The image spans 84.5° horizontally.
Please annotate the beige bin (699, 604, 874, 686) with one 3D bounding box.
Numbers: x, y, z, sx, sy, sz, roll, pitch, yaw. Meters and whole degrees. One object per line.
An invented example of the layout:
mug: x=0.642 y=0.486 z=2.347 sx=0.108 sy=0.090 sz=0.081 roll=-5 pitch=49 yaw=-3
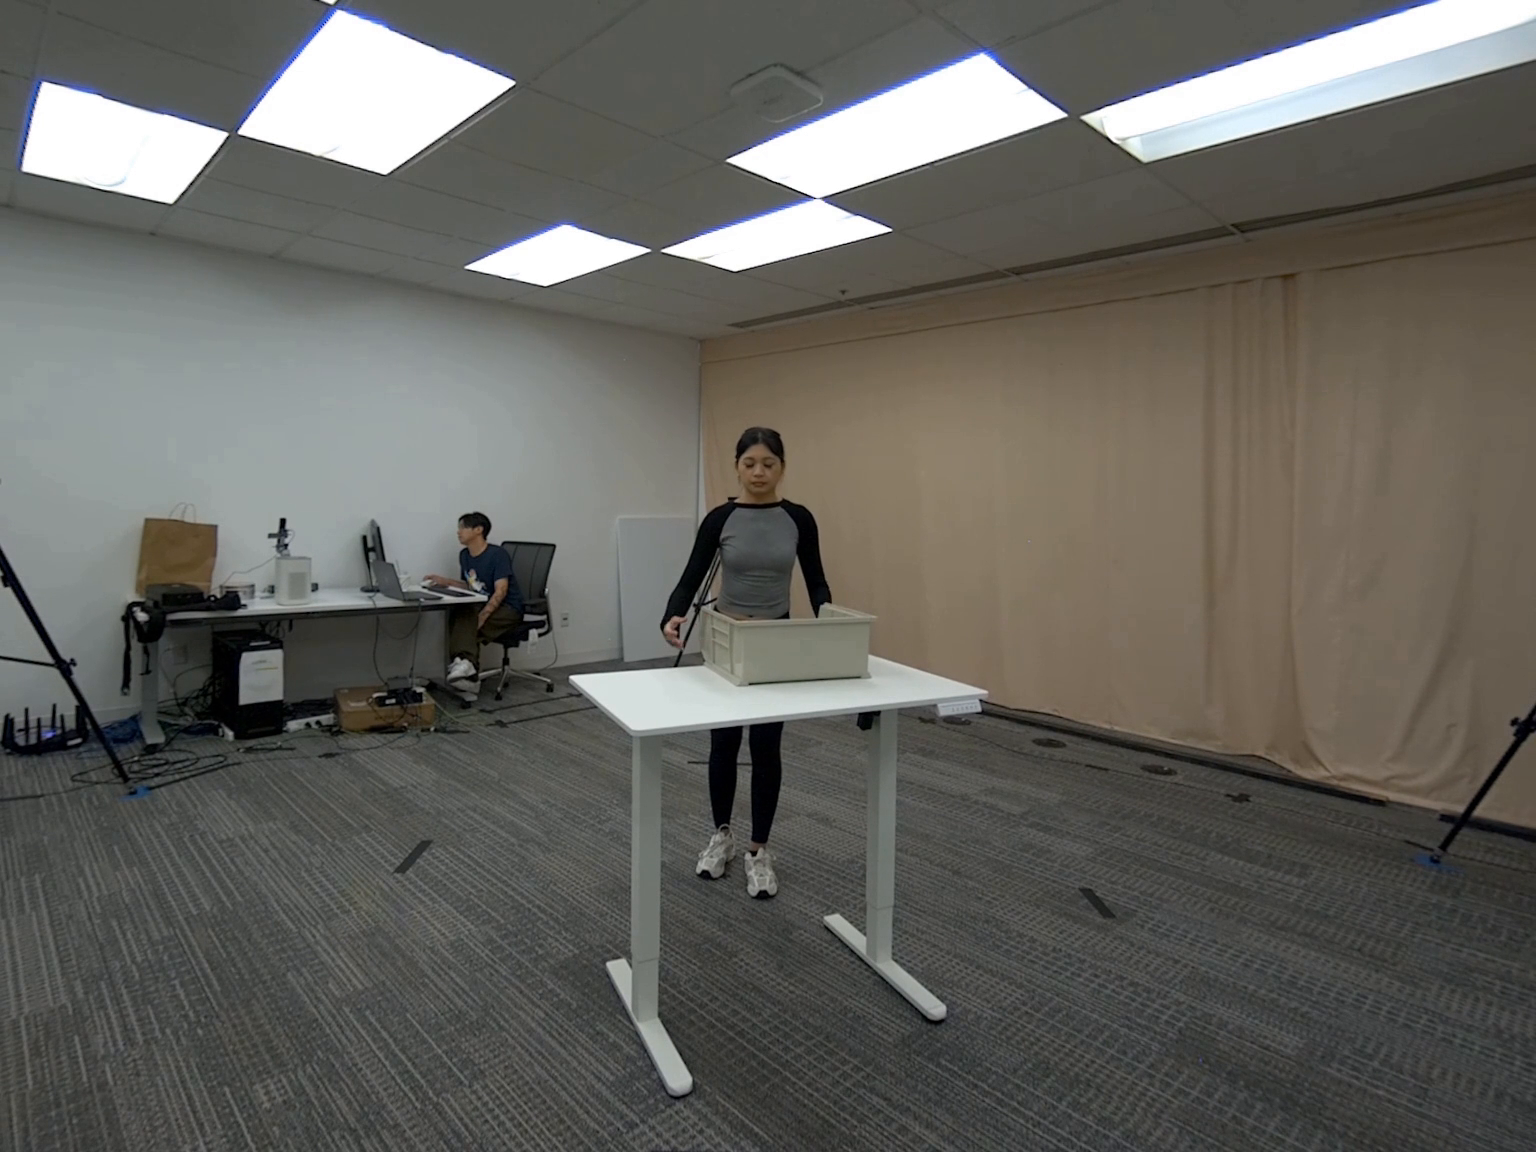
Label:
beige bin: x=0.038 y=0.197 z=2.510 sx=0.416 sy=0.188 sz=0.384 roll=0 pitch=6 yaw=-21
